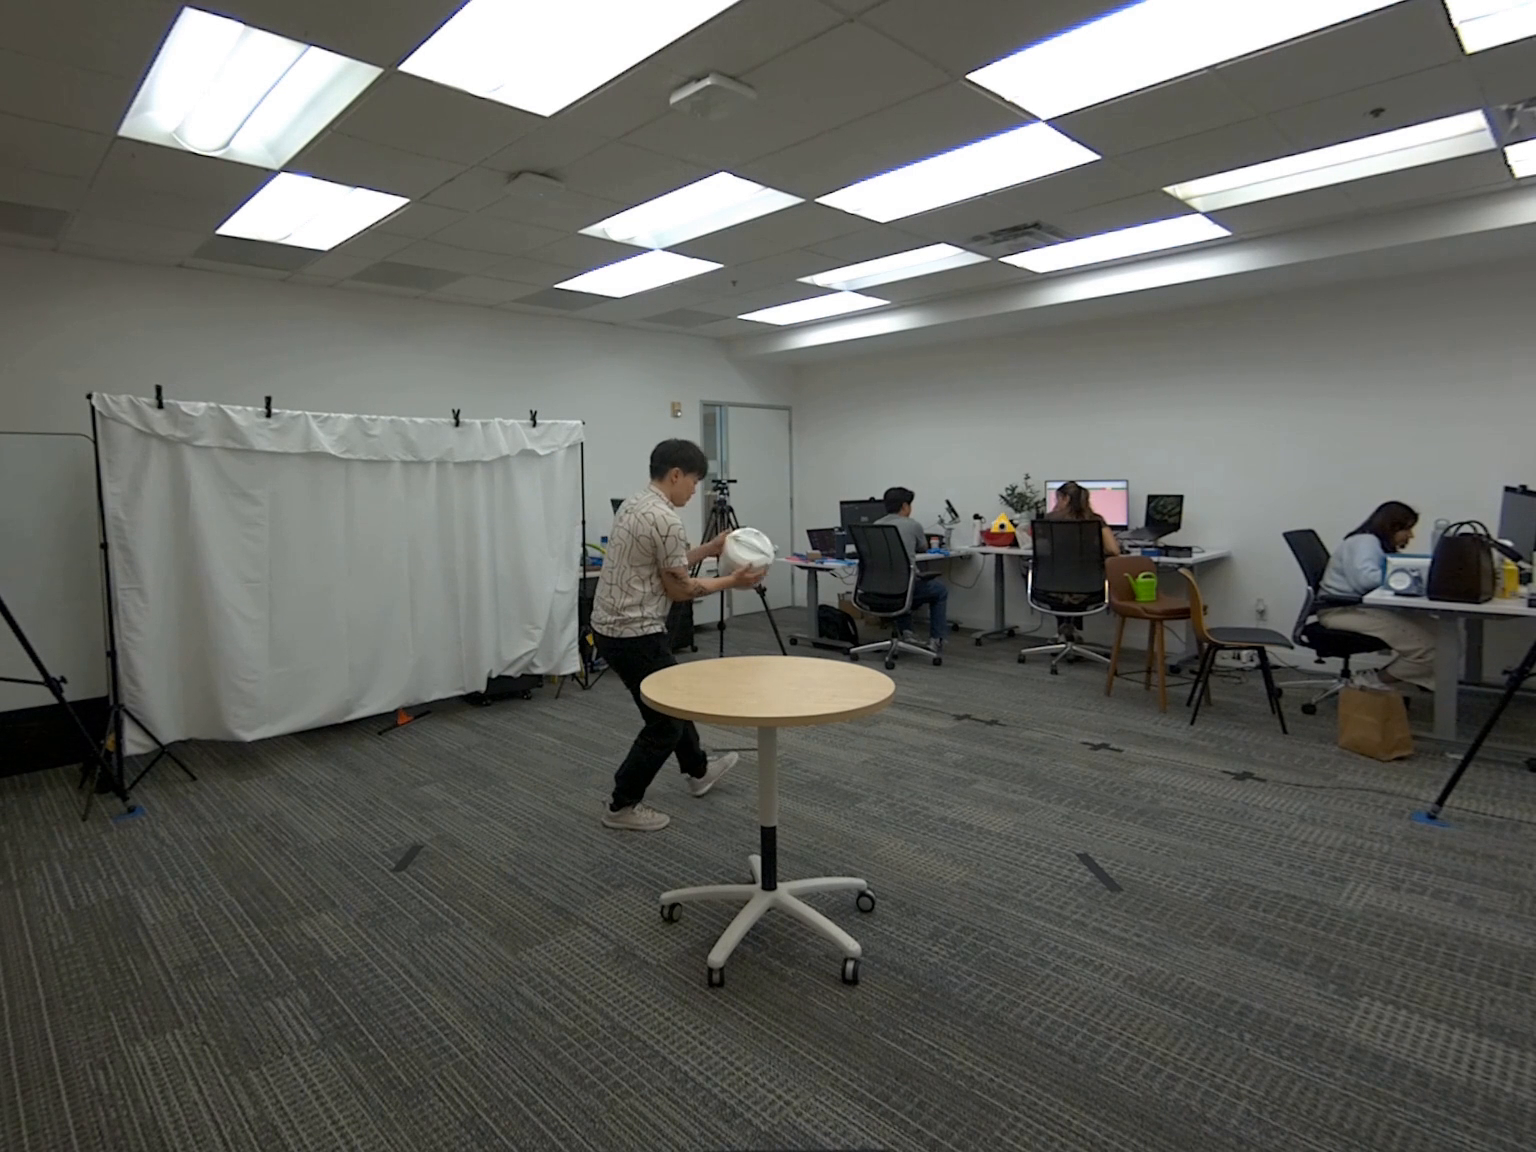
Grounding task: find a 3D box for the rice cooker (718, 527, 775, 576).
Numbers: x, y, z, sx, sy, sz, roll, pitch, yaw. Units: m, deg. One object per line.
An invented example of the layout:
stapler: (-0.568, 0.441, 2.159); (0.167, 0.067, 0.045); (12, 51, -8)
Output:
rice cooker: (-0.091, -0.064, 3.594); (0.222, 0.229, 0.219); (27, 51, 5)
